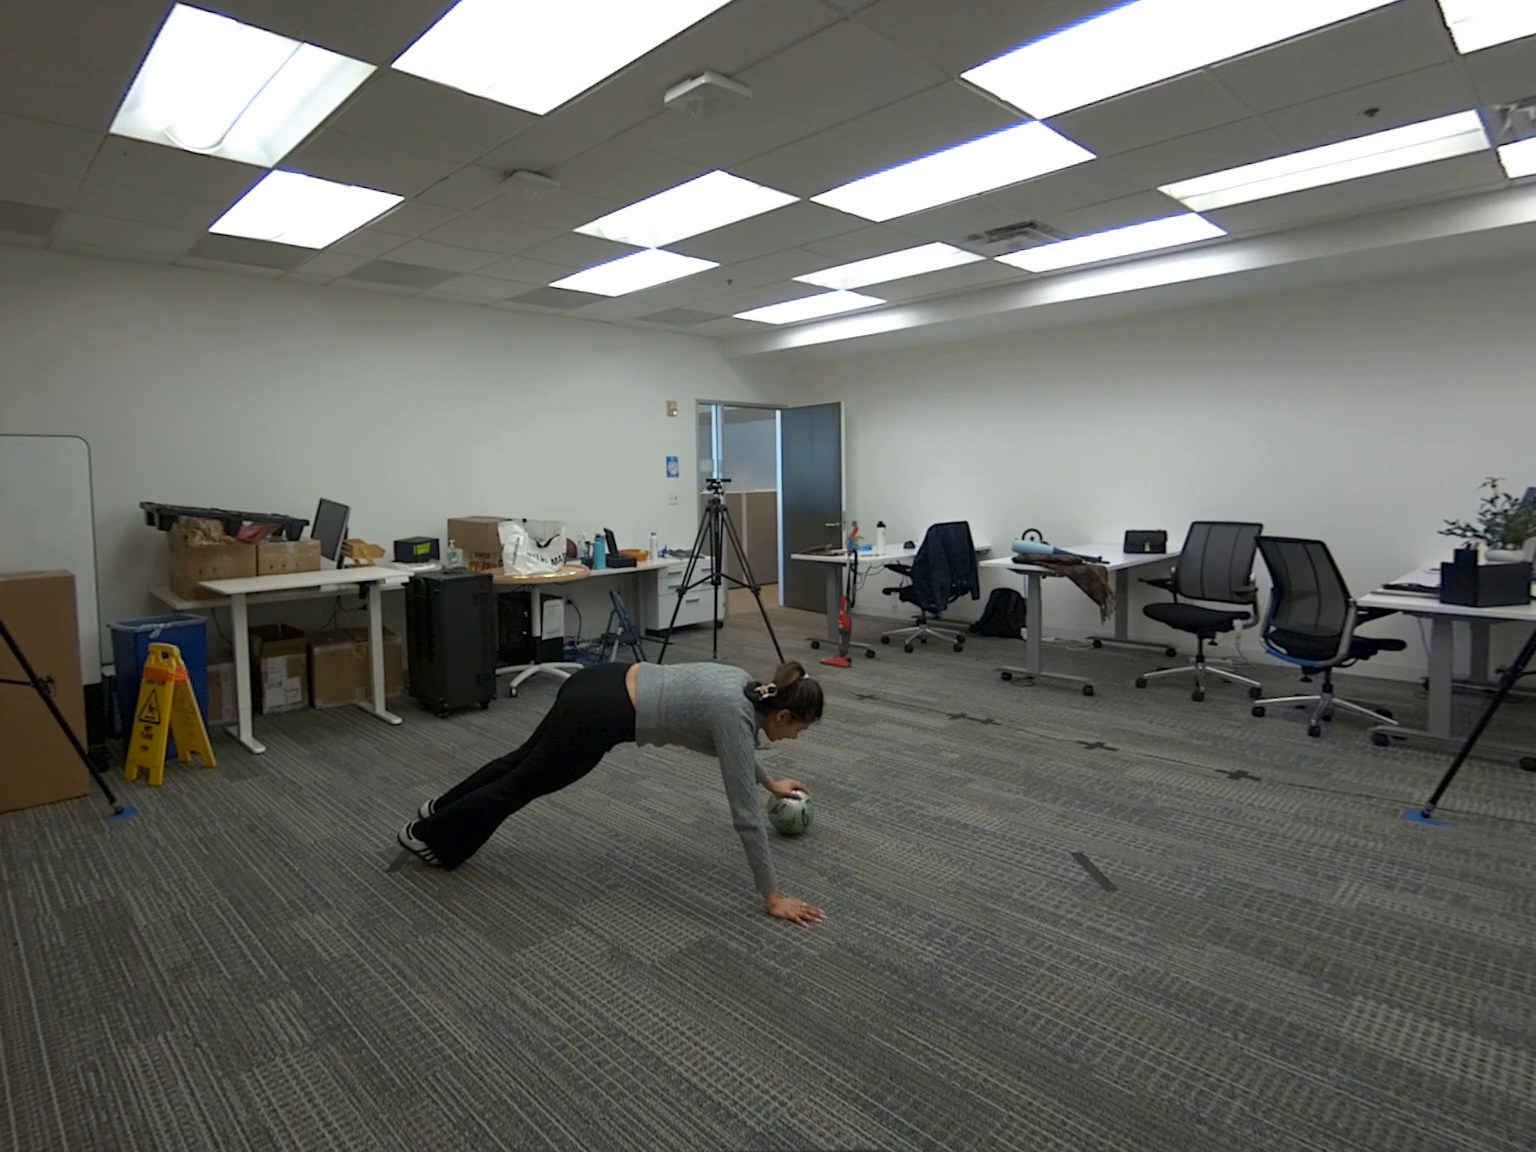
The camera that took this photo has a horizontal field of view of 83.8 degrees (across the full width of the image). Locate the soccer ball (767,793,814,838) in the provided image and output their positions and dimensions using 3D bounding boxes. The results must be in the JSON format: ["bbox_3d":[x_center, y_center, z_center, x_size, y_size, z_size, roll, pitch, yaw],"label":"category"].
[{"bbox_3d":[0.093,0.917,3.362,0.187,0.187,0.188,-1,5,-2],"label":"soccer ball"}]
